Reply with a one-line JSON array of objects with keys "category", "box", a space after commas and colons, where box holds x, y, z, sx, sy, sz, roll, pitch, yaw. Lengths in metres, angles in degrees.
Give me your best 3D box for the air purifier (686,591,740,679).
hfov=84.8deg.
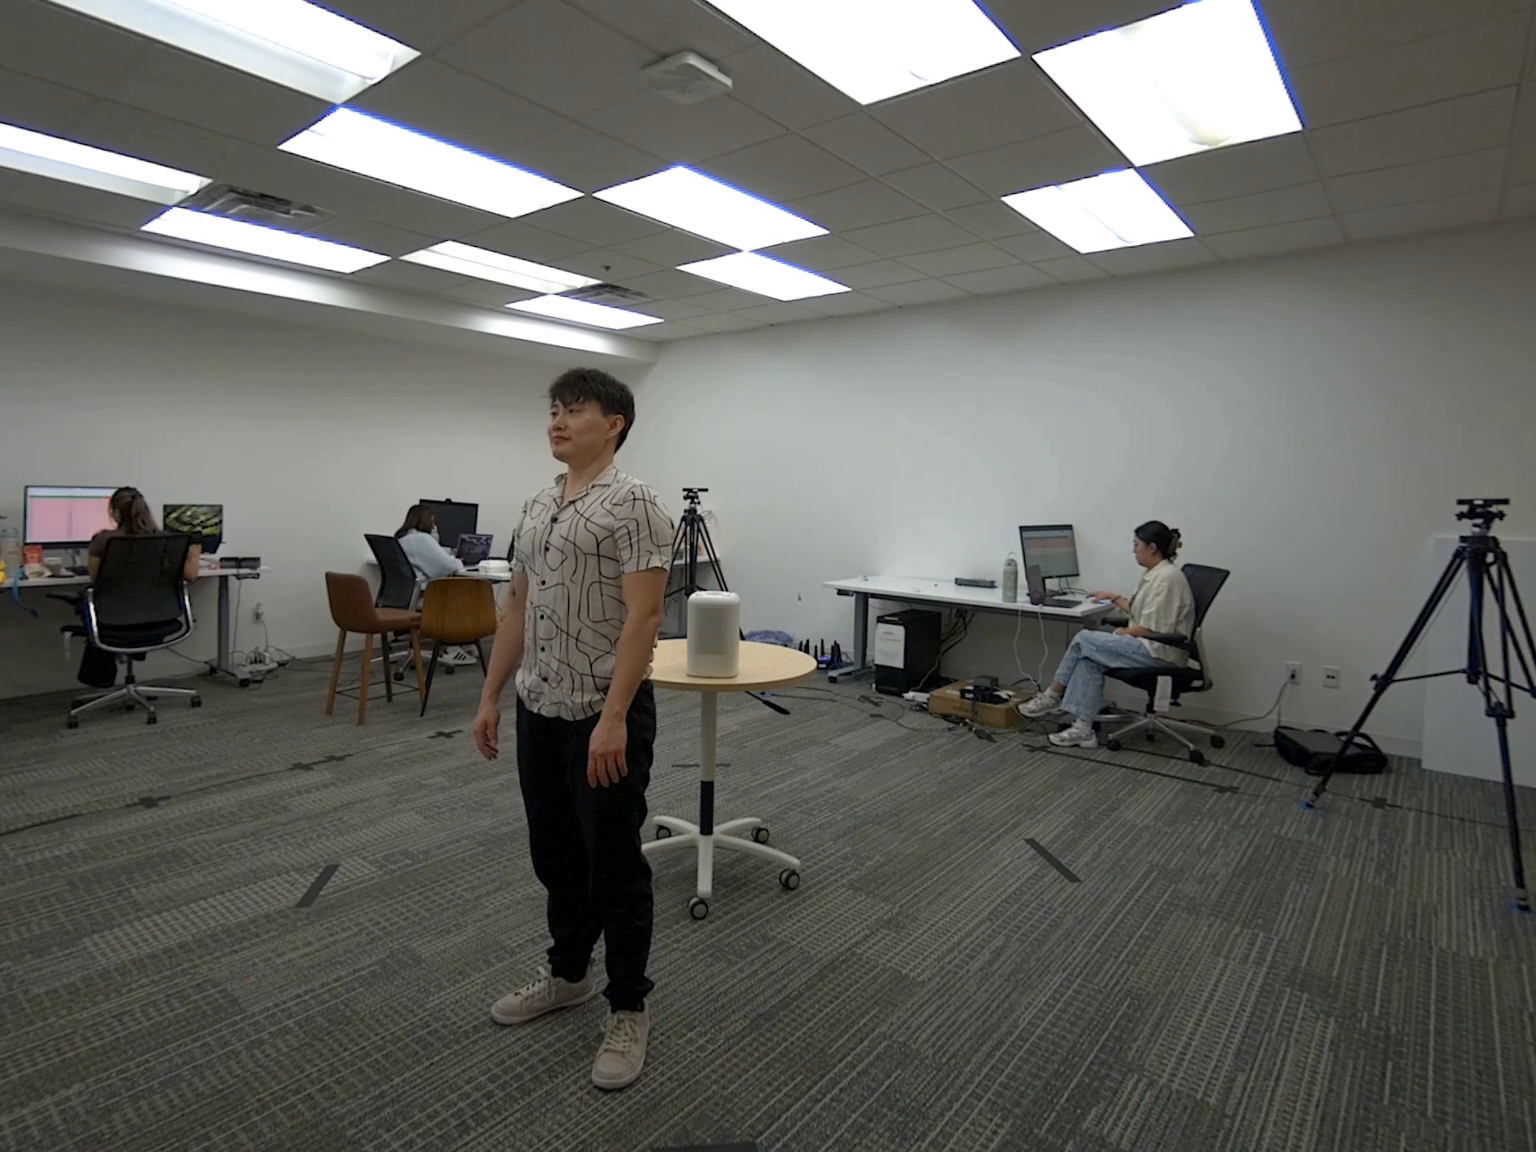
[{"category": "air purifier", "box": [-0.192, 0.186, 2.826, 0.173, 0.264, 0.170, 3, 6, 6]}]
